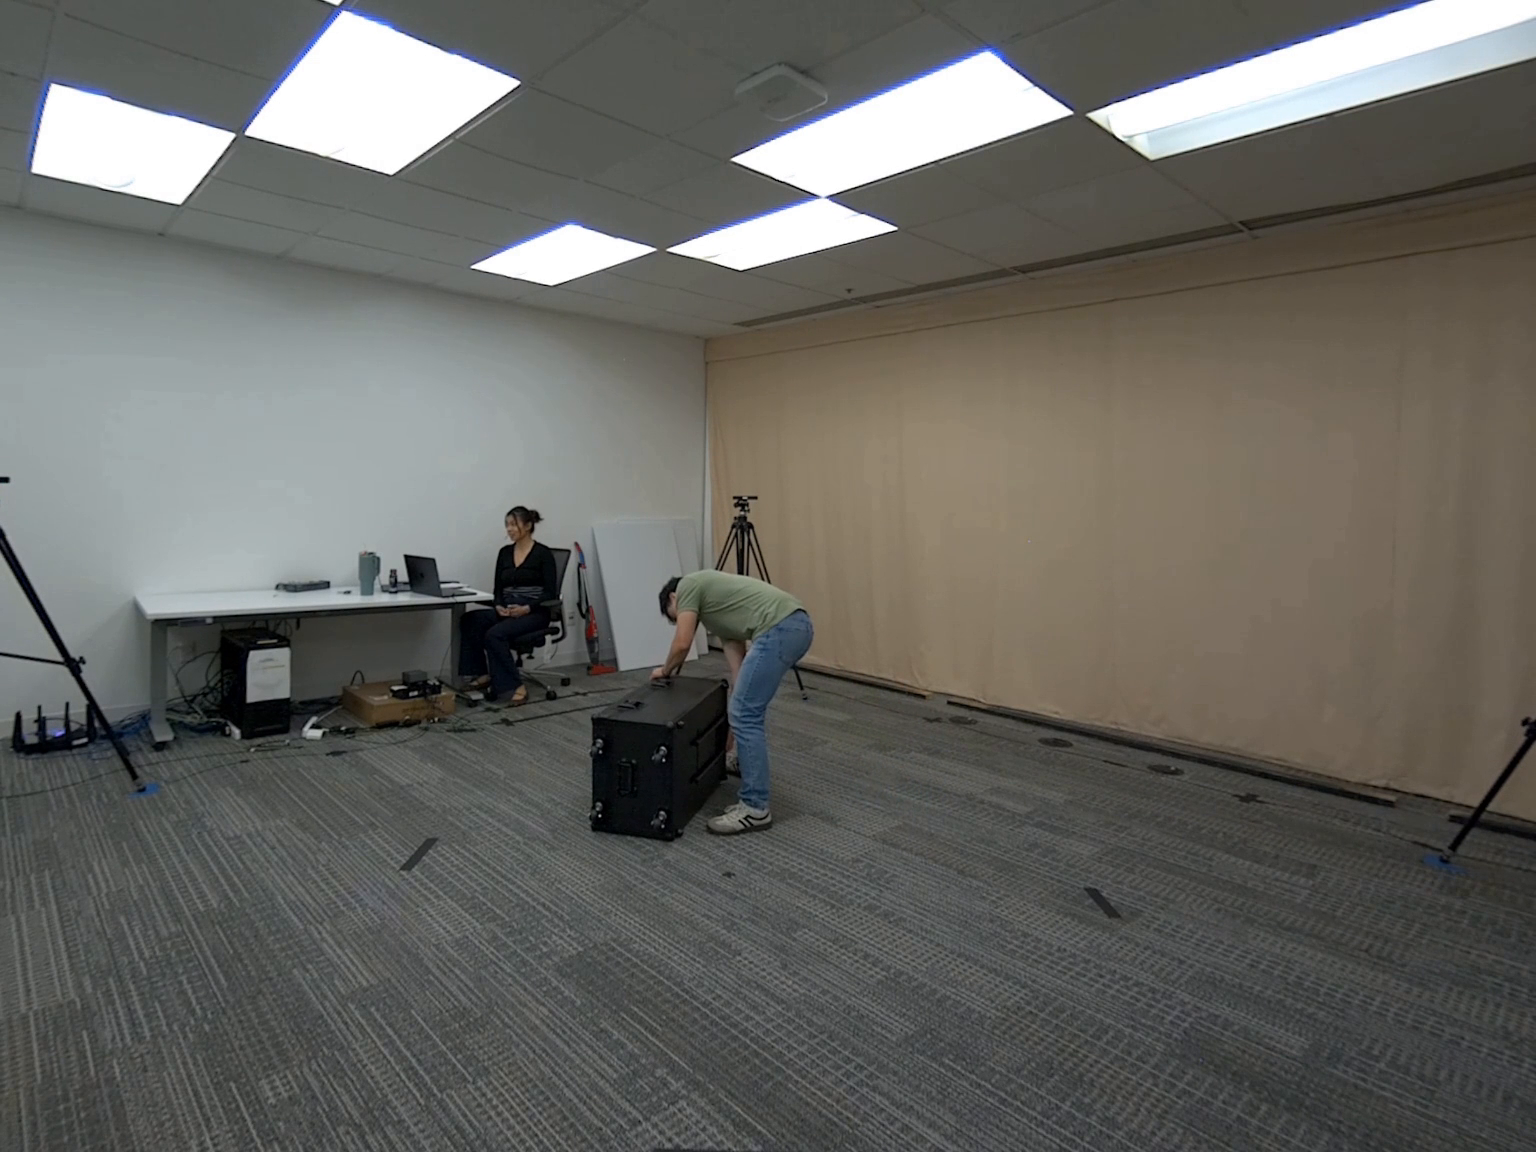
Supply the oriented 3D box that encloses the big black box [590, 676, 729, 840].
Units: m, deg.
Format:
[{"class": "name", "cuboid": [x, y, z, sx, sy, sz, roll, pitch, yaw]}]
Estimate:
[{"class": "big black box", "cuboid": [-0.455, 0.767, 3.799, 0.401, 0.519, 0.855, 3, 7, 13]}]
